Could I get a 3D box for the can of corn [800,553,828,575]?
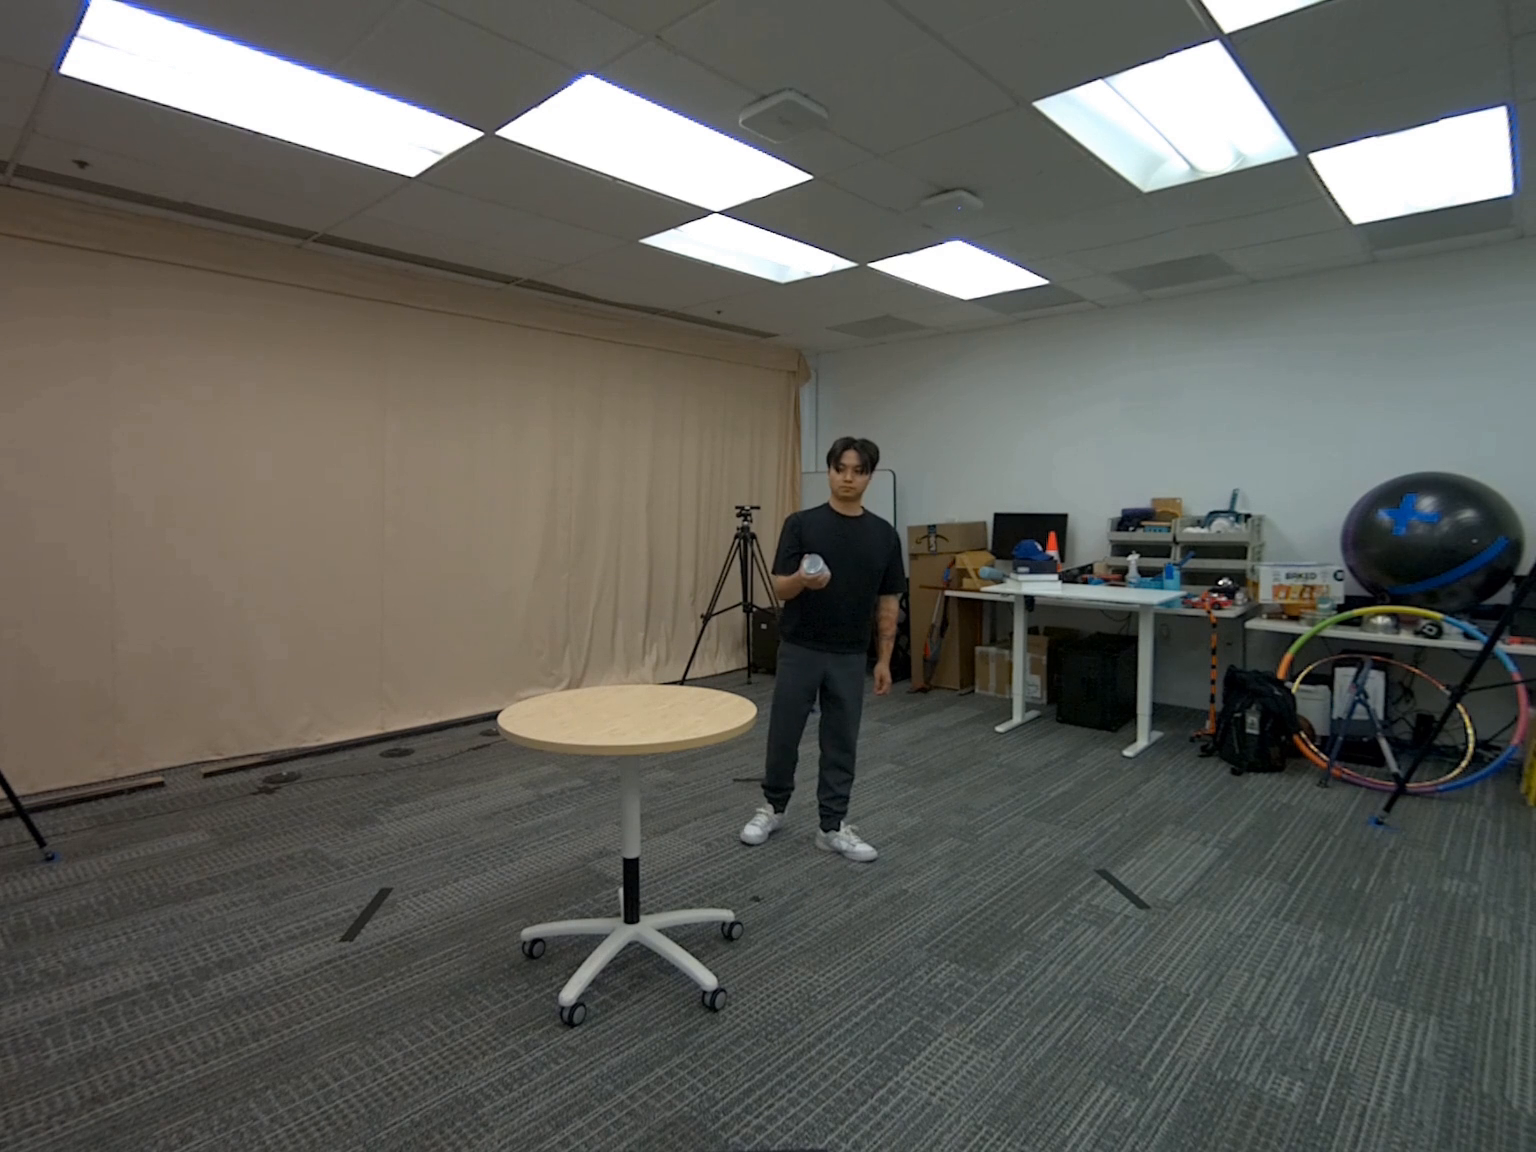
[{"bbox_3d":[0.168,-0.025,3.014,0.075,0.075,0.108,1,-19,16],"label":"can of corn"}]
